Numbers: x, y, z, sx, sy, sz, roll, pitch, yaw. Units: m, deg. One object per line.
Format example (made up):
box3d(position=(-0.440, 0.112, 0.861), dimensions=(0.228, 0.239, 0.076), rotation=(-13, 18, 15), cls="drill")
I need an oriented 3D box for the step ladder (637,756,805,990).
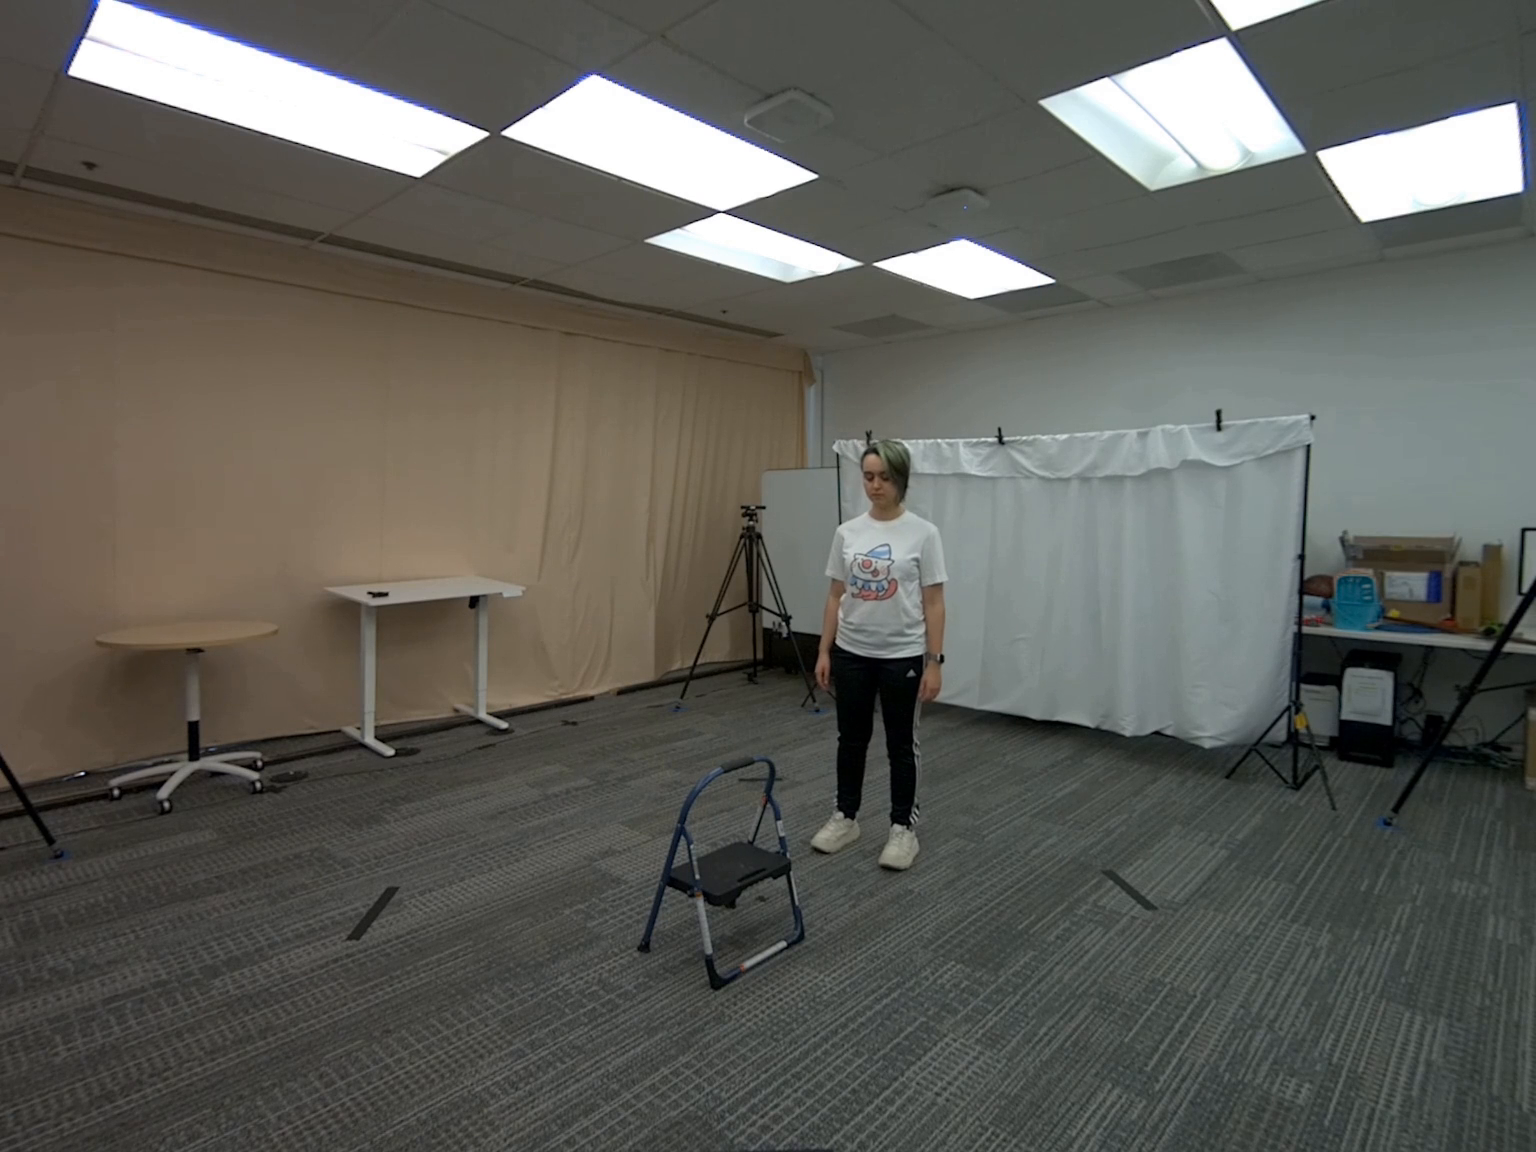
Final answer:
box3d(position=(-0.141, 0.868, 2.665), dimensions=(0.361, 0.605, 0.417), rotation=(2, 4, 42), cls="step ladder")
